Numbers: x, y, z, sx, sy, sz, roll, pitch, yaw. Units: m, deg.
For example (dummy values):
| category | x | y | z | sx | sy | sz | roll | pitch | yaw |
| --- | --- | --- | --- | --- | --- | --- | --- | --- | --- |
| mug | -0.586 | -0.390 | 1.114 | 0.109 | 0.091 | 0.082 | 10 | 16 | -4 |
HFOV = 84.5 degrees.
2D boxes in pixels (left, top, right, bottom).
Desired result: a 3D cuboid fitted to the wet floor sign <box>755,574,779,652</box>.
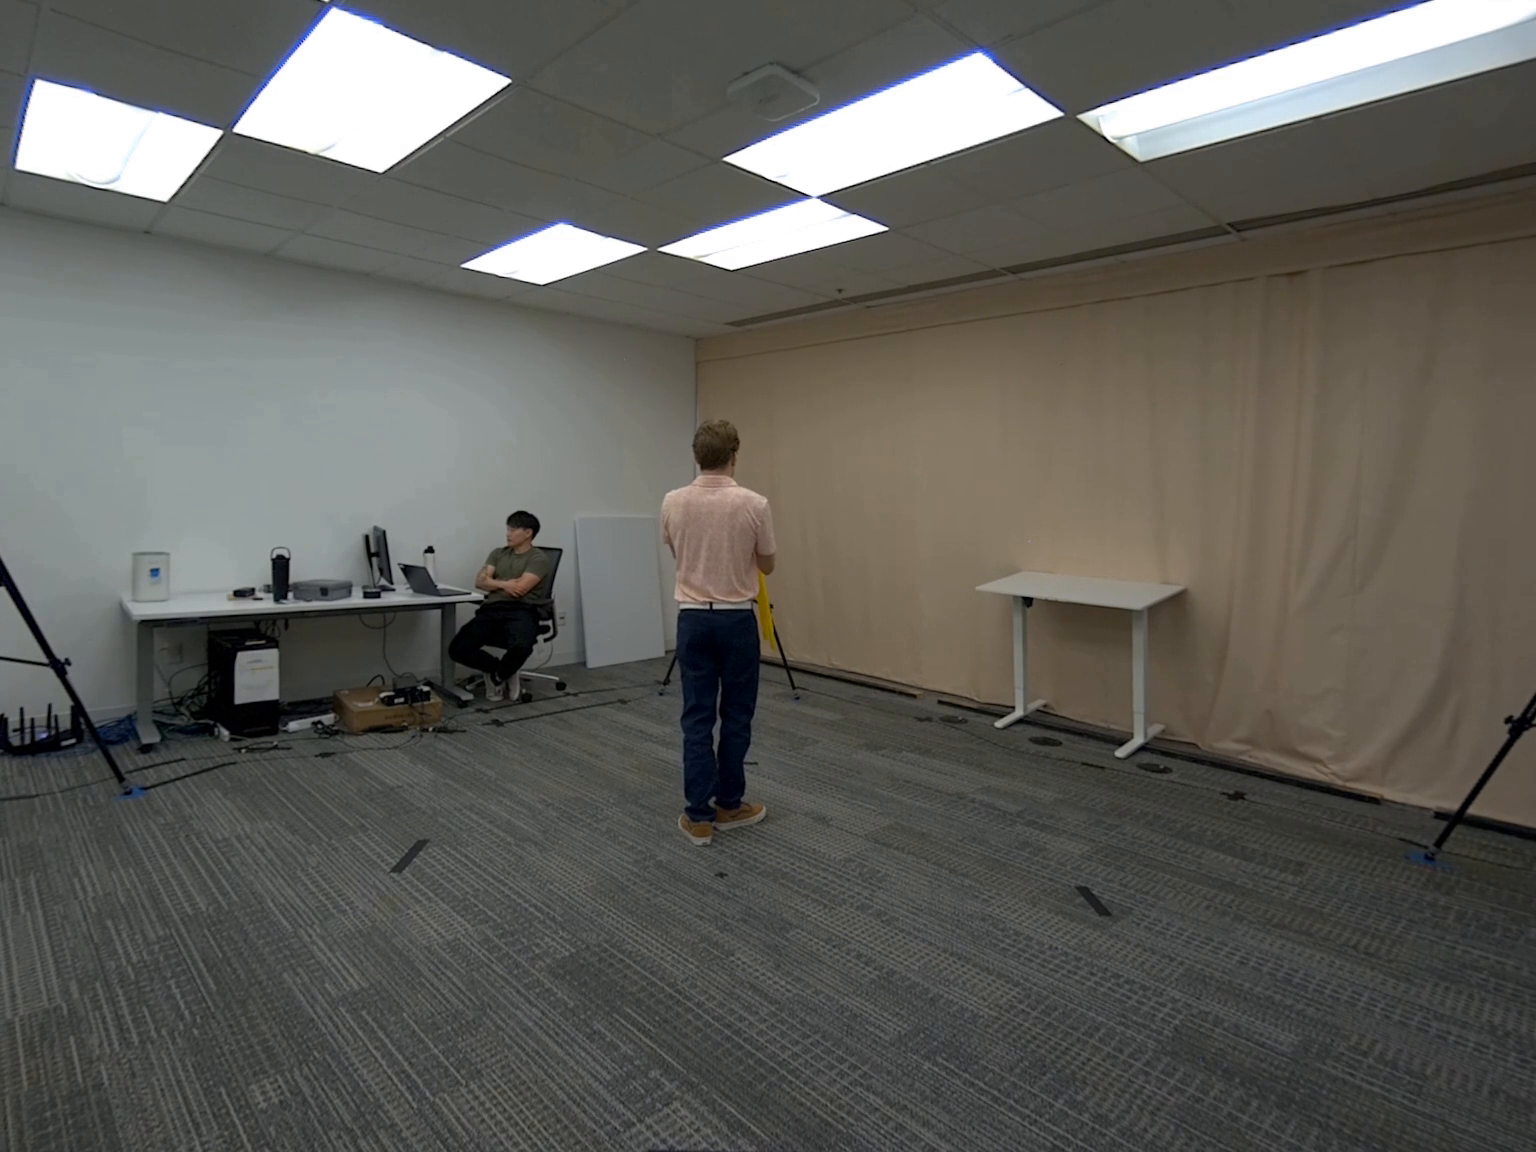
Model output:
| category | x | y | z | sx | sy | sz | roll | pitch | yaw |
| --- | --- | --- | --- | --- | --- | --- | --- | --- | --- |
| wet floor sign | -0.107 | 0.013 | 3.944 | 0.288 | 0.642 | 0.286 | -1 | 9 | -9 |
